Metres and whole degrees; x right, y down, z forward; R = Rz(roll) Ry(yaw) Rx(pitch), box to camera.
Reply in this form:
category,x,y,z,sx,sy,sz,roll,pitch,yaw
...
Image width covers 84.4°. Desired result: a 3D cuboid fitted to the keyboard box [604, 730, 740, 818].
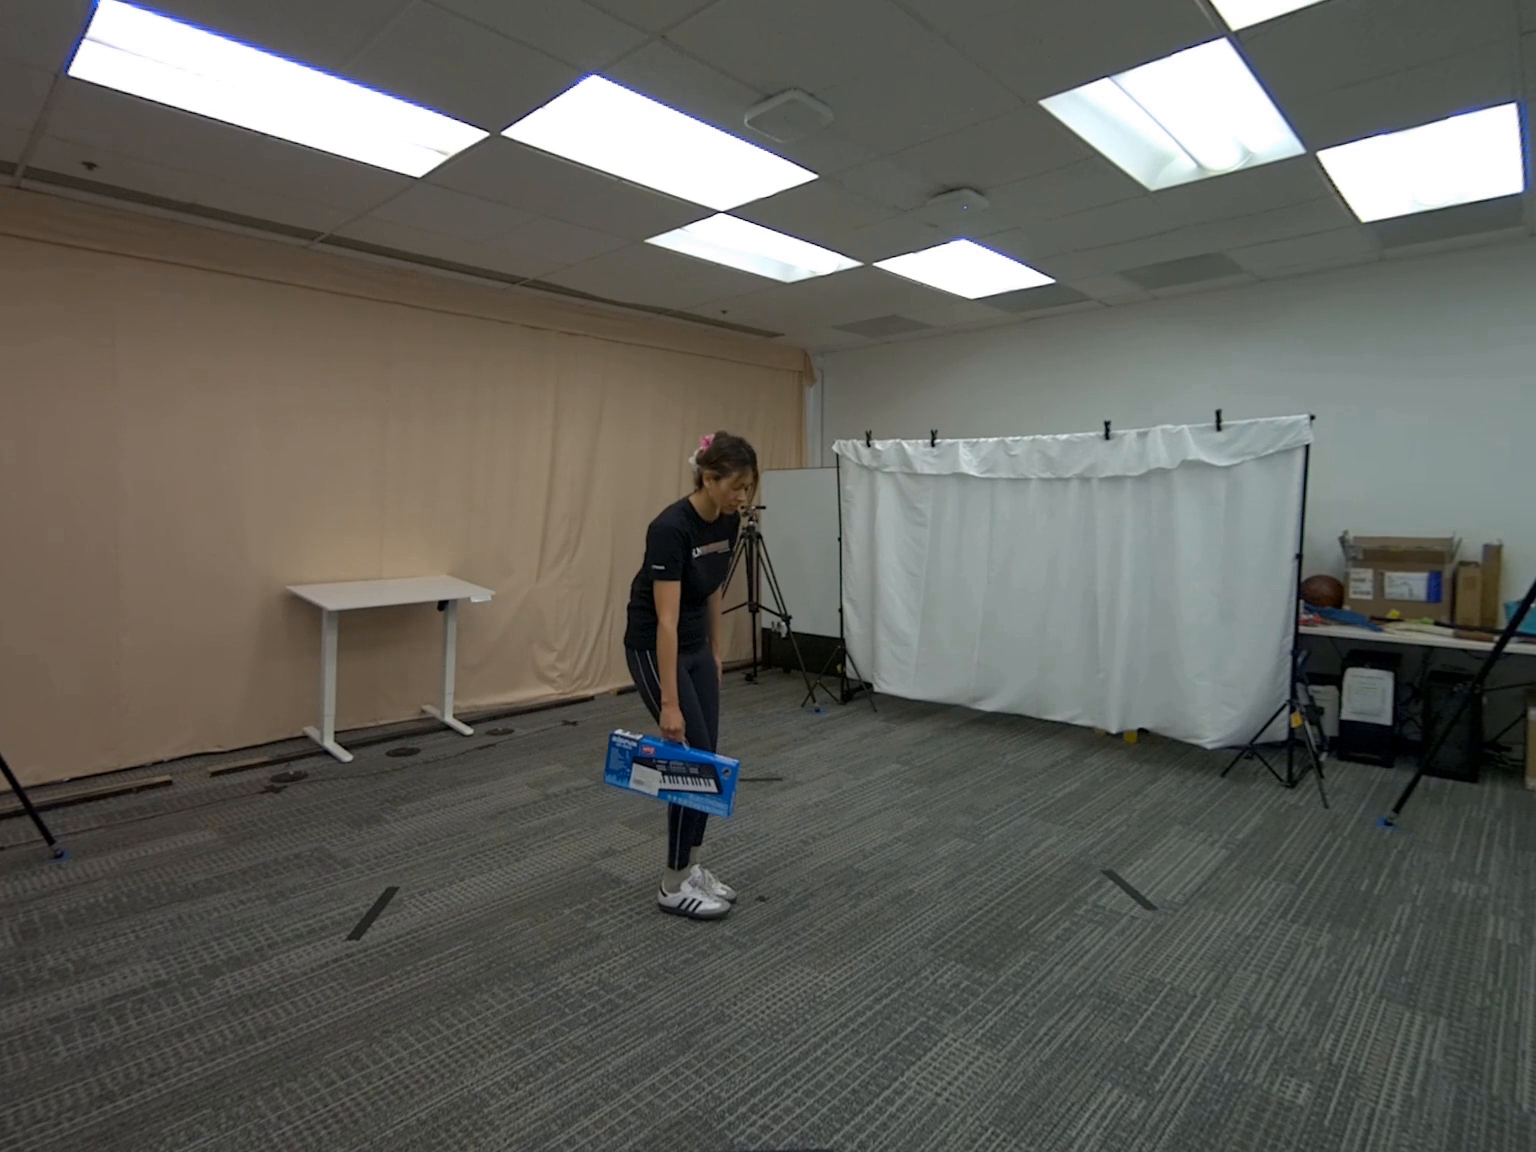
category,x,y,z,sx,sy,sz,roll,pitch,yaw
keyboard box,-0.315,0.635,2.707,0.446,0.175,0.058,11,6,17
